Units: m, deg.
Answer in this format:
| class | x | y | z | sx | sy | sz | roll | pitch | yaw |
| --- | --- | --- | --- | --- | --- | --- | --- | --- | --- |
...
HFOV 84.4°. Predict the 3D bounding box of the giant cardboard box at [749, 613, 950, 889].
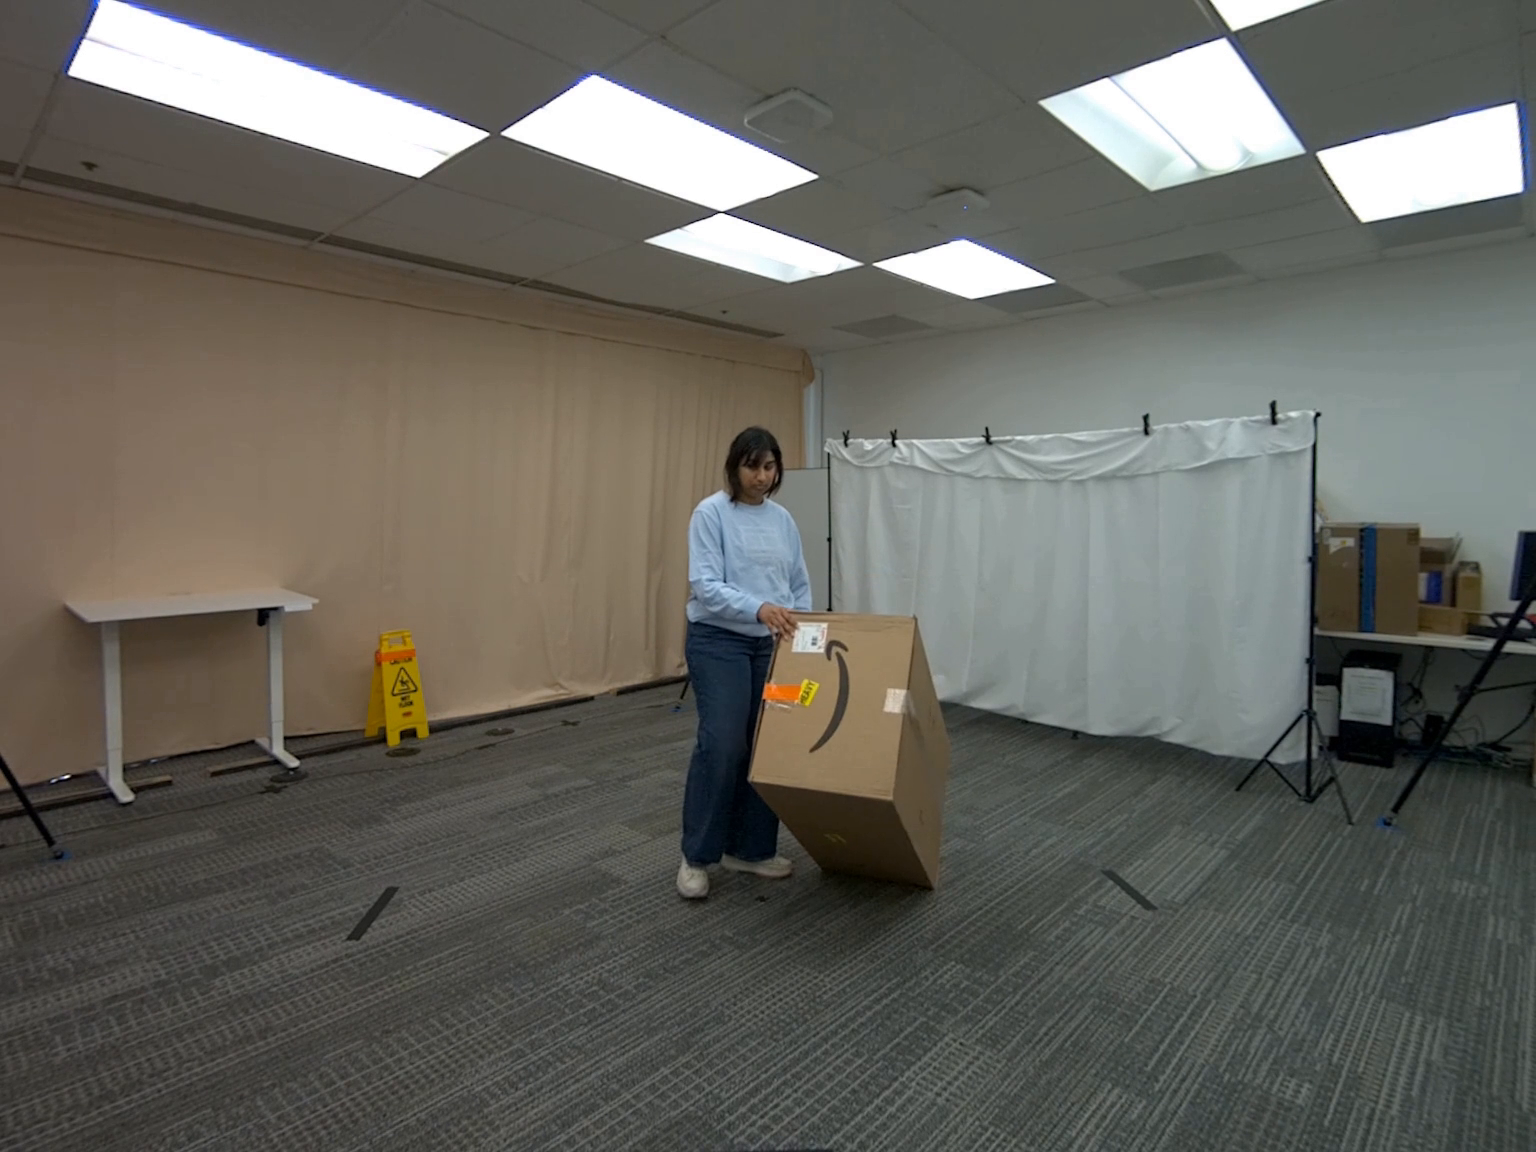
| class | x | y | z | sx | sy | sz | roll | pitch | yaw |
| --- | --- | --- | --- | --- | --- | --- | --- | --- | --- |
| giant cardboard box | 0.335 | 0.624 | 2.883 | 0.457 | 0.588 | 0.995 | 2 | -32 | 21 |
